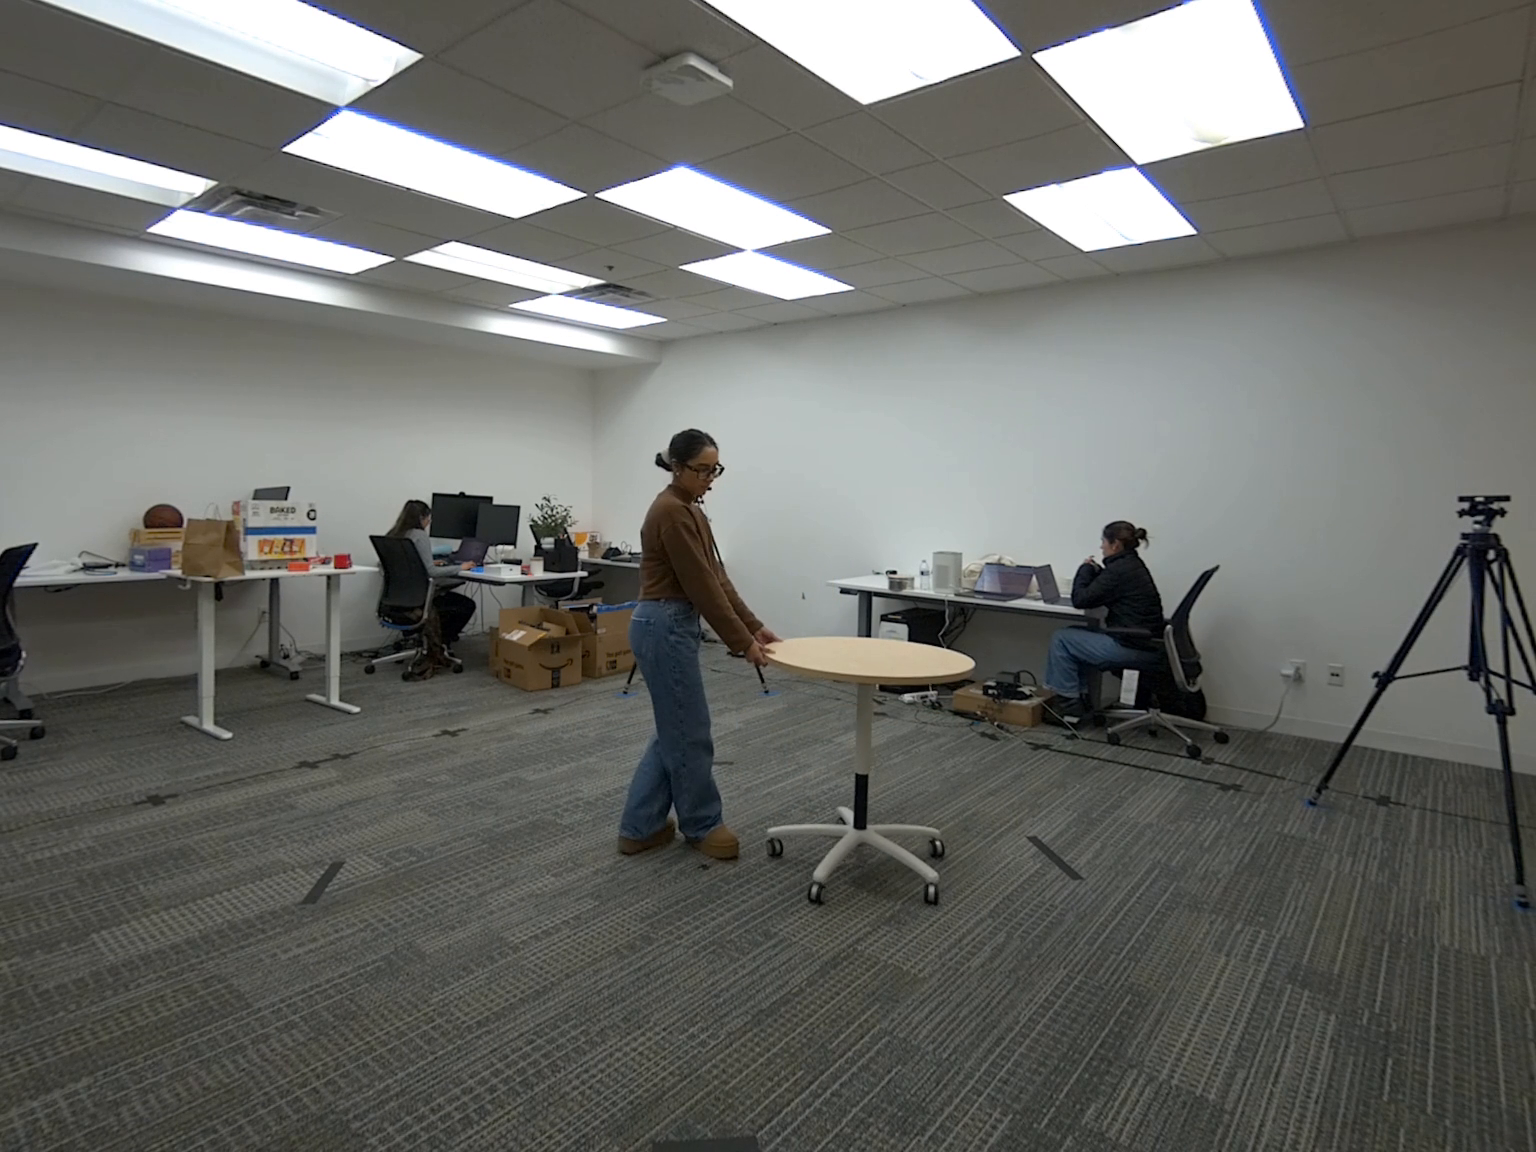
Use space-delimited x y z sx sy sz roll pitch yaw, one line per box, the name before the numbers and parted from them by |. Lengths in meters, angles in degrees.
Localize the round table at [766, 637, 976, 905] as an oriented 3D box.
round table | 0.317 0.679 3.129 0.784 0.784 0.789 2 4 -2
